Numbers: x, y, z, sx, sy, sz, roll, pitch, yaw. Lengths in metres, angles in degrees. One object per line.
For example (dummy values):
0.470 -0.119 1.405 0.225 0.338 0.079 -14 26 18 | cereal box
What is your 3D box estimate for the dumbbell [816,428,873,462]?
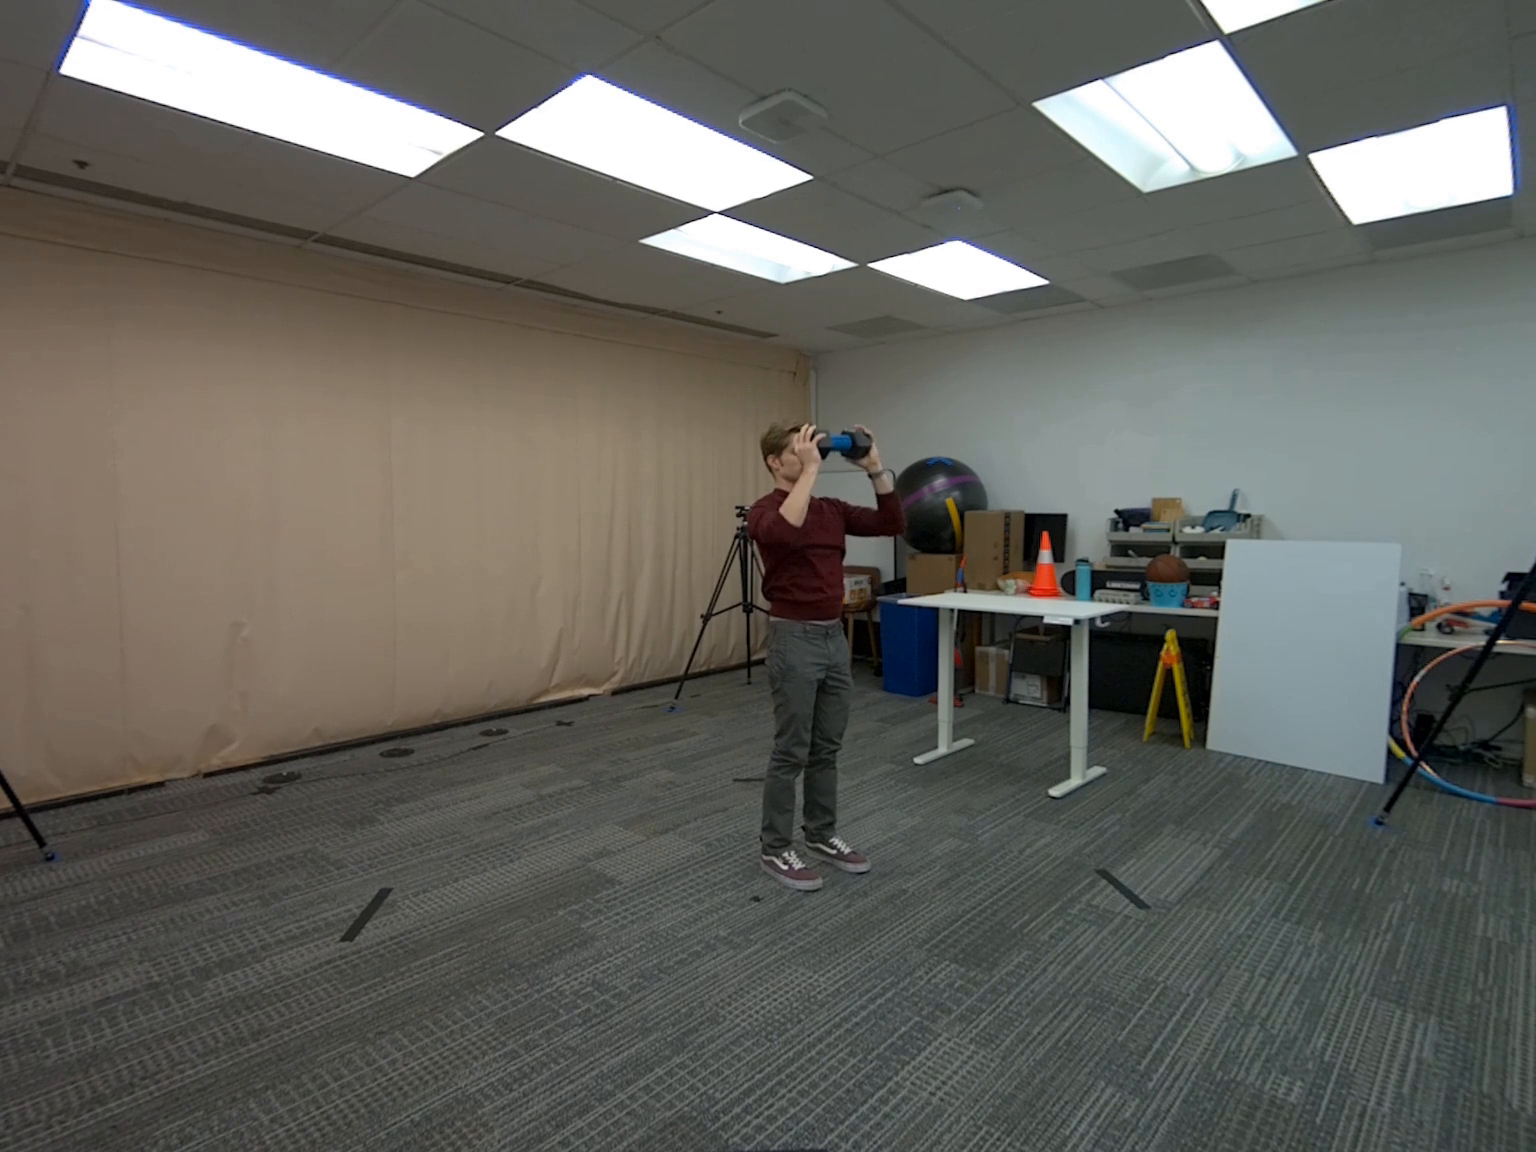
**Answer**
0.239 -0.488 3.046 0.285 0.124 0.111 -10 -10 -39 | dumbbell
